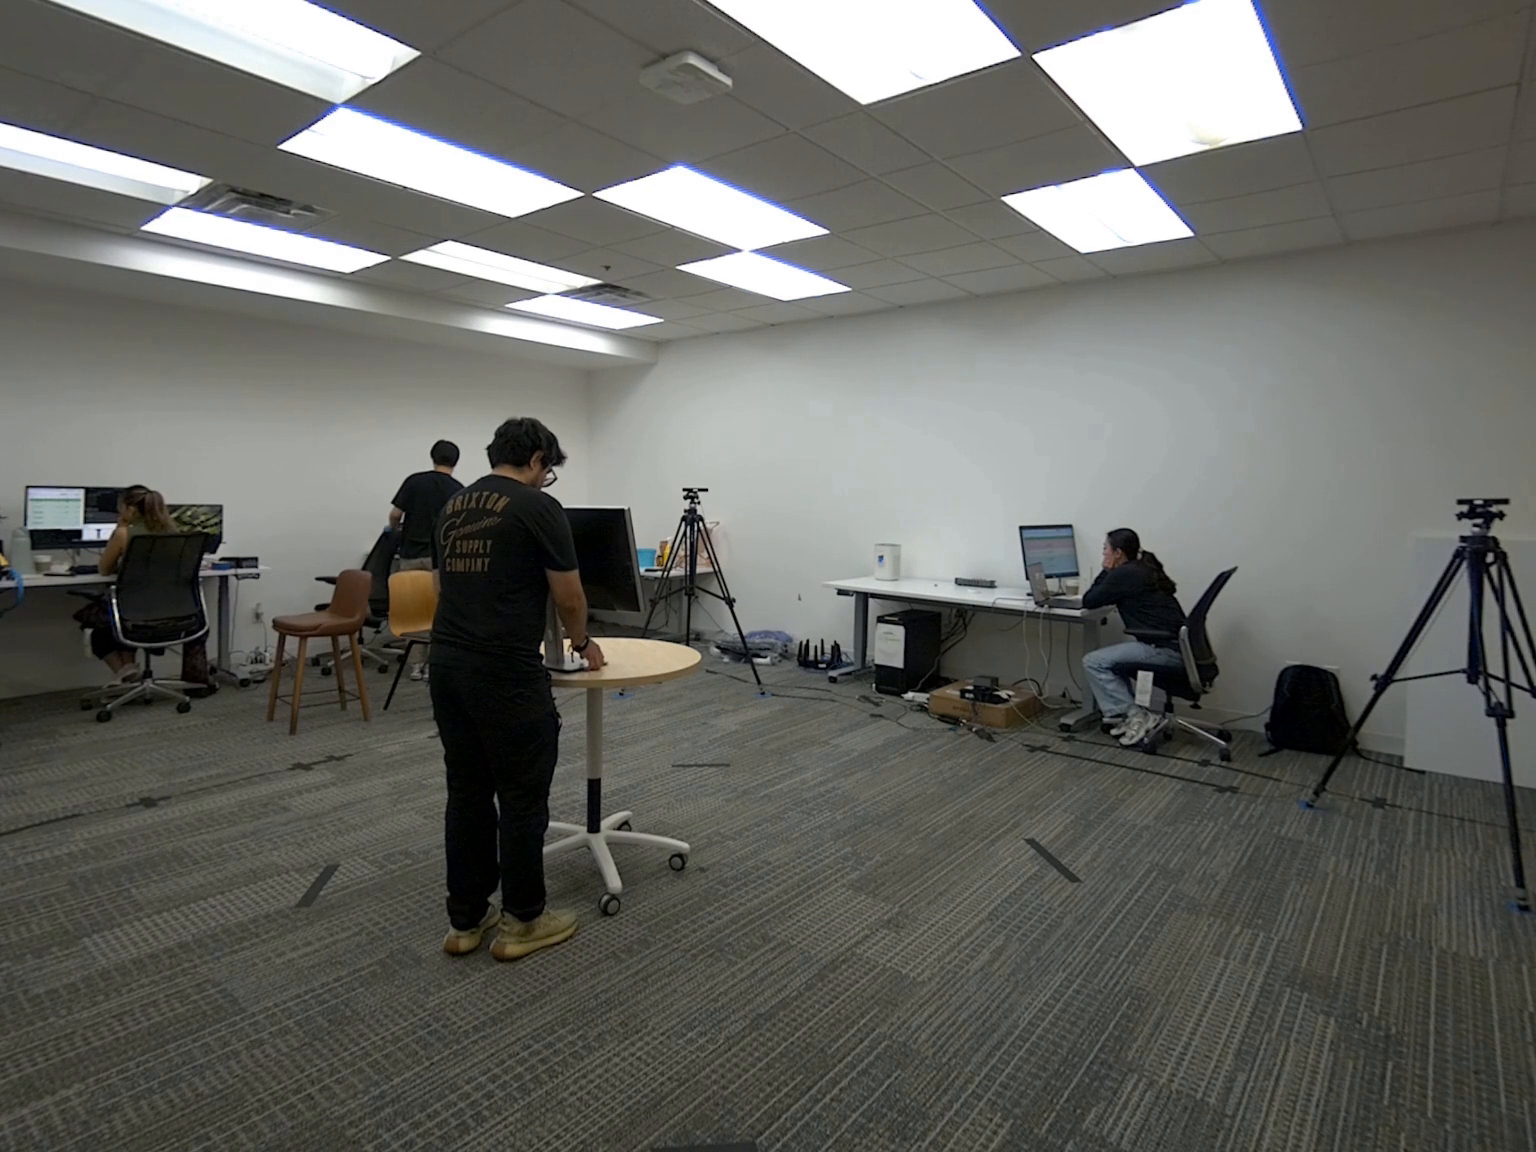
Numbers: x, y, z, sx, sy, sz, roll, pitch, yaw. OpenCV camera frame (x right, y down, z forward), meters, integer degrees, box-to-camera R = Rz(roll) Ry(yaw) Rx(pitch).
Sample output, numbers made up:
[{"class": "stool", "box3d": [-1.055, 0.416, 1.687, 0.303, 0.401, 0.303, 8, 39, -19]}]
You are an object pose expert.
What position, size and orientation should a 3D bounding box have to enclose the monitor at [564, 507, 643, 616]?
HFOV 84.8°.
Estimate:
[{"class": "monitor", "box3d": [-0.717, 0.039, 2.869, 0.581, 0.549, 0.206, 3, 11, 29]}]
